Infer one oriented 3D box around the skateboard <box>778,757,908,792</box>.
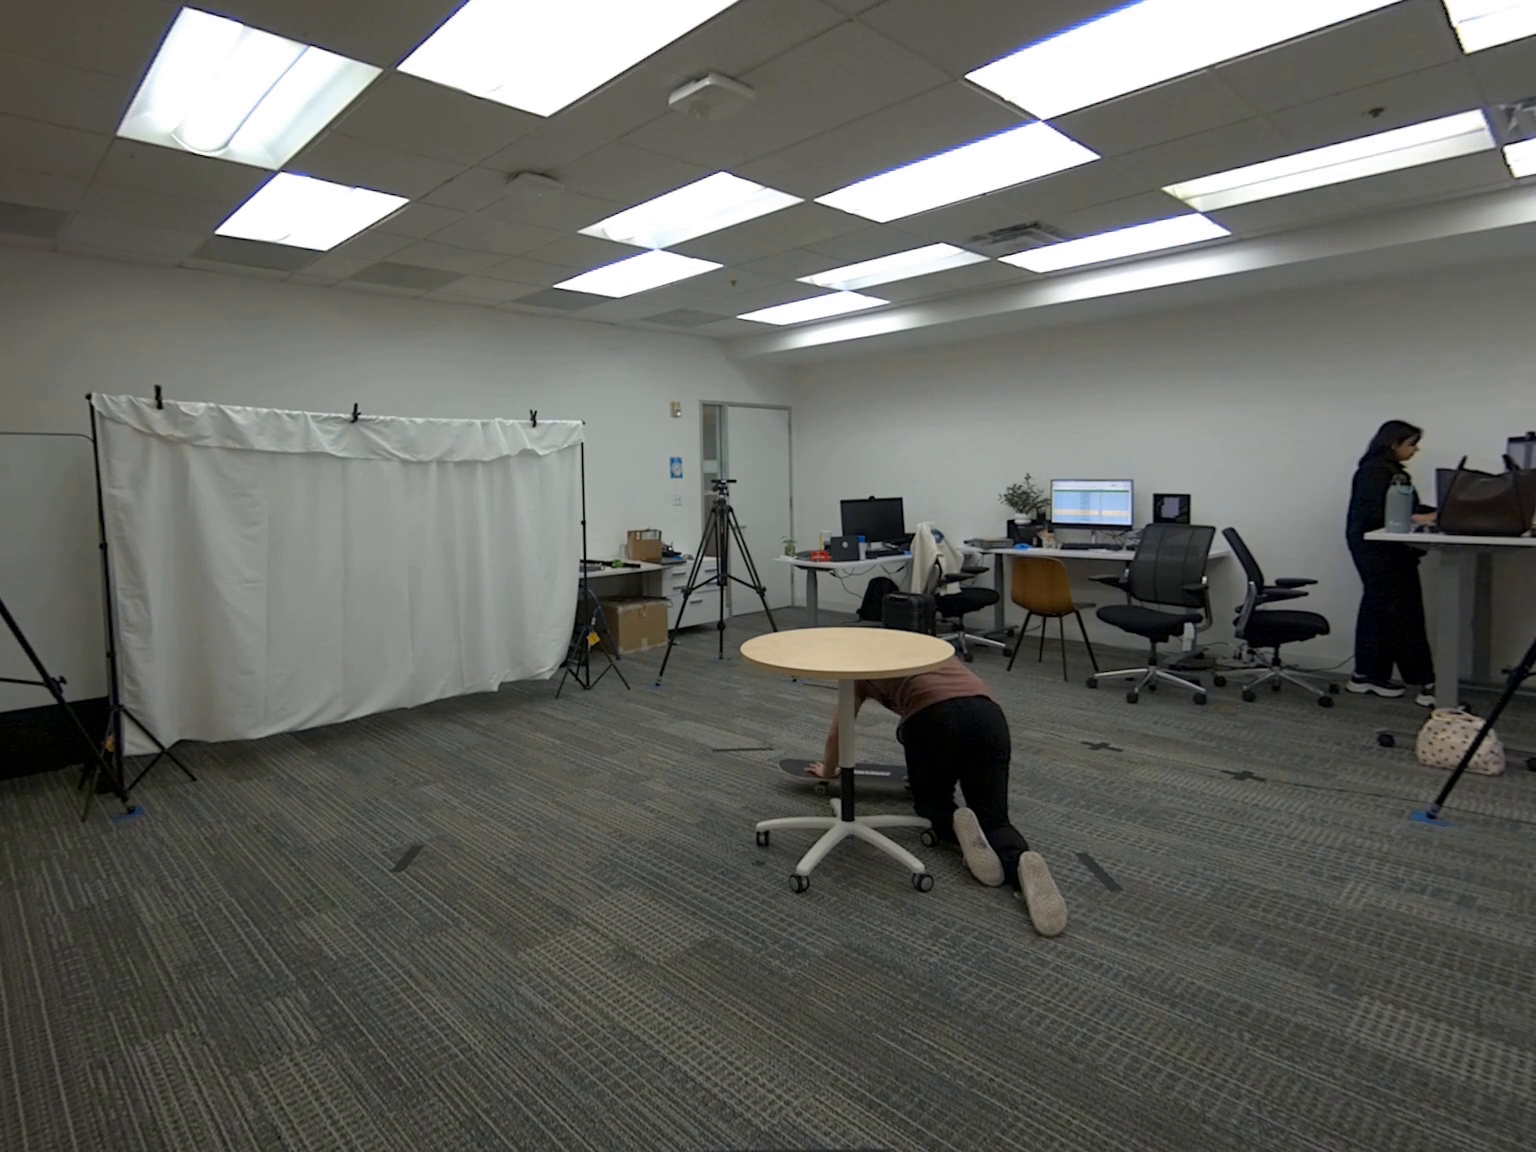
[{"bbox_3d":[0.429,0.905,3.818,0.793,0.109,0.193,1,9,10],"label":"skateboard"}]
